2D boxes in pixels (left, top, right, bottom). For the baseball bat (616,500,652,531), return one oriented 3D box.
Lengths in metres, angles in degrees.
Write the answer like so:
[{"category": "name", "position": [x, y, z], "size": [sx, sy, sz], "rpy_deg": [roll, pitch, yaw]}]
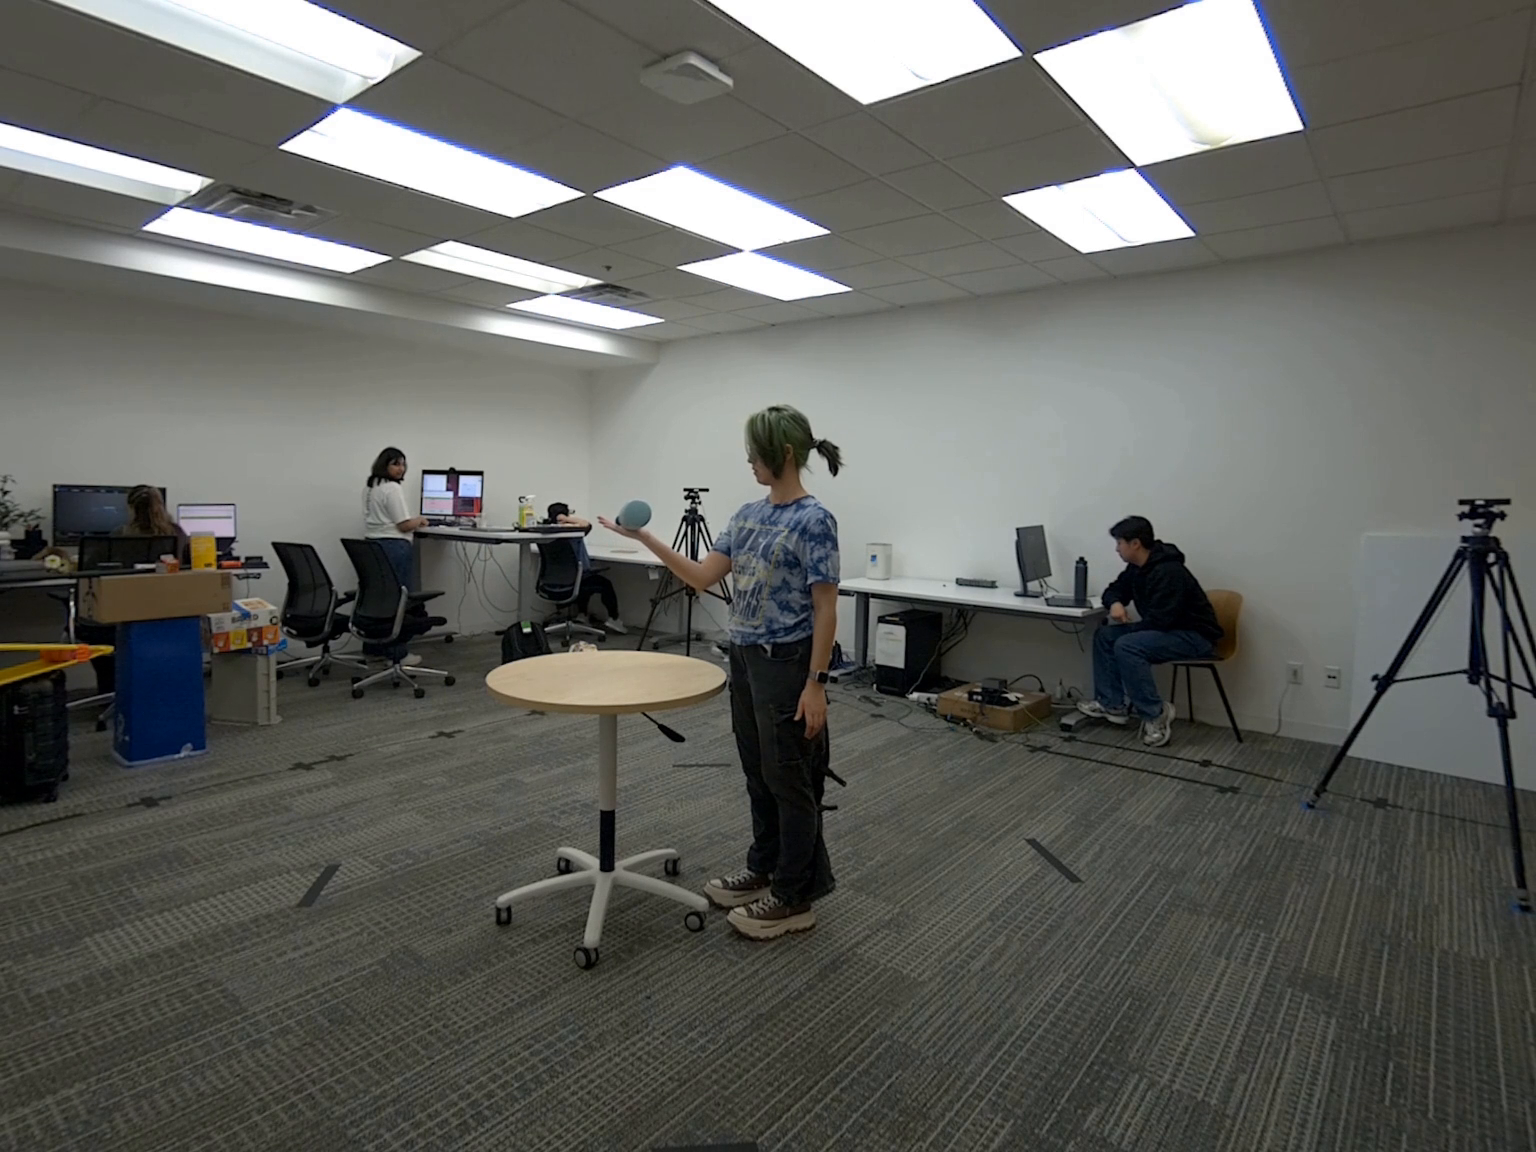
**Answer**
[{"category": "baseball bat", "position": [-0.480, -0.185, 2.770], "size": [0.087, 0.089, 0.551], "rpy_deg": [0, 0, -16]}]
